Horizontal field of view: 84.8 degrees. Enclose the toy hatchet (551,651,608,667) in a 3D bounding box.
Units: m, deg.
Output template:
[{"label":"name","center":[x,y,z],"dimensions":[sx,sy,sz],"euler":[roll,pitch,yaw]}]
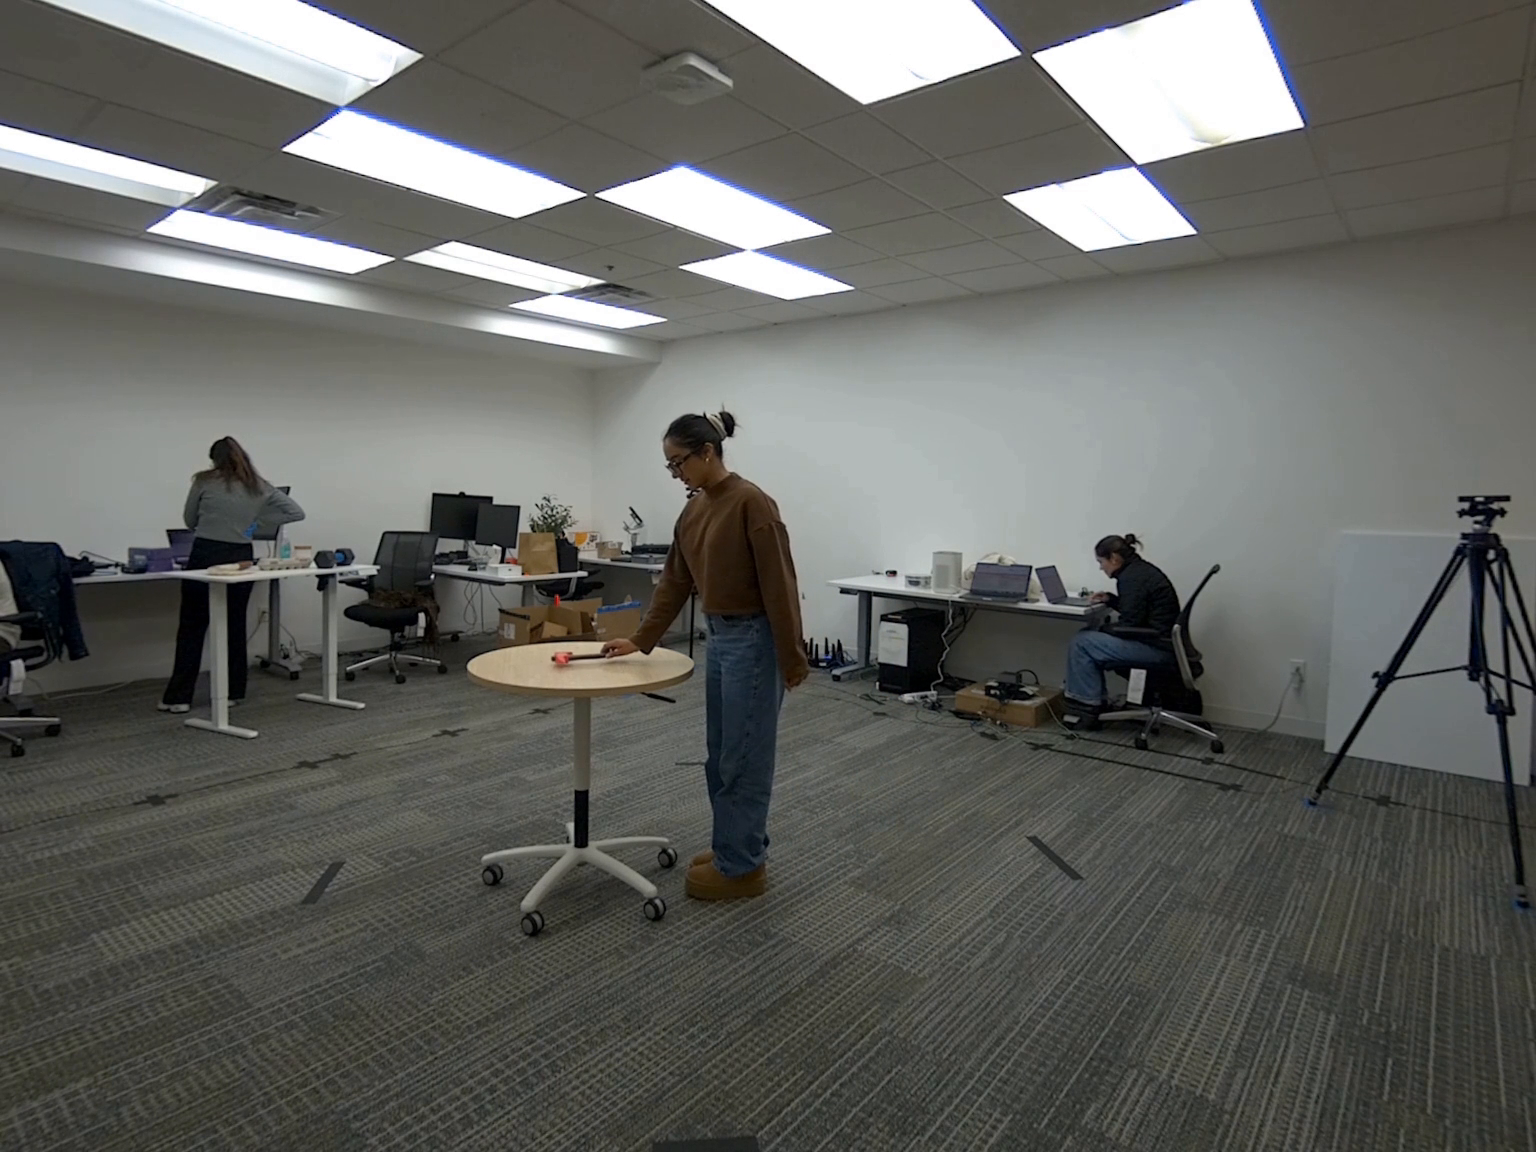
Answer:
[{"label":"toy hatchet","center":[-0.610,0.274,2.892],"dimensions":[0.267,0.029,0.133],"euler":[-1,7,-11]}]
